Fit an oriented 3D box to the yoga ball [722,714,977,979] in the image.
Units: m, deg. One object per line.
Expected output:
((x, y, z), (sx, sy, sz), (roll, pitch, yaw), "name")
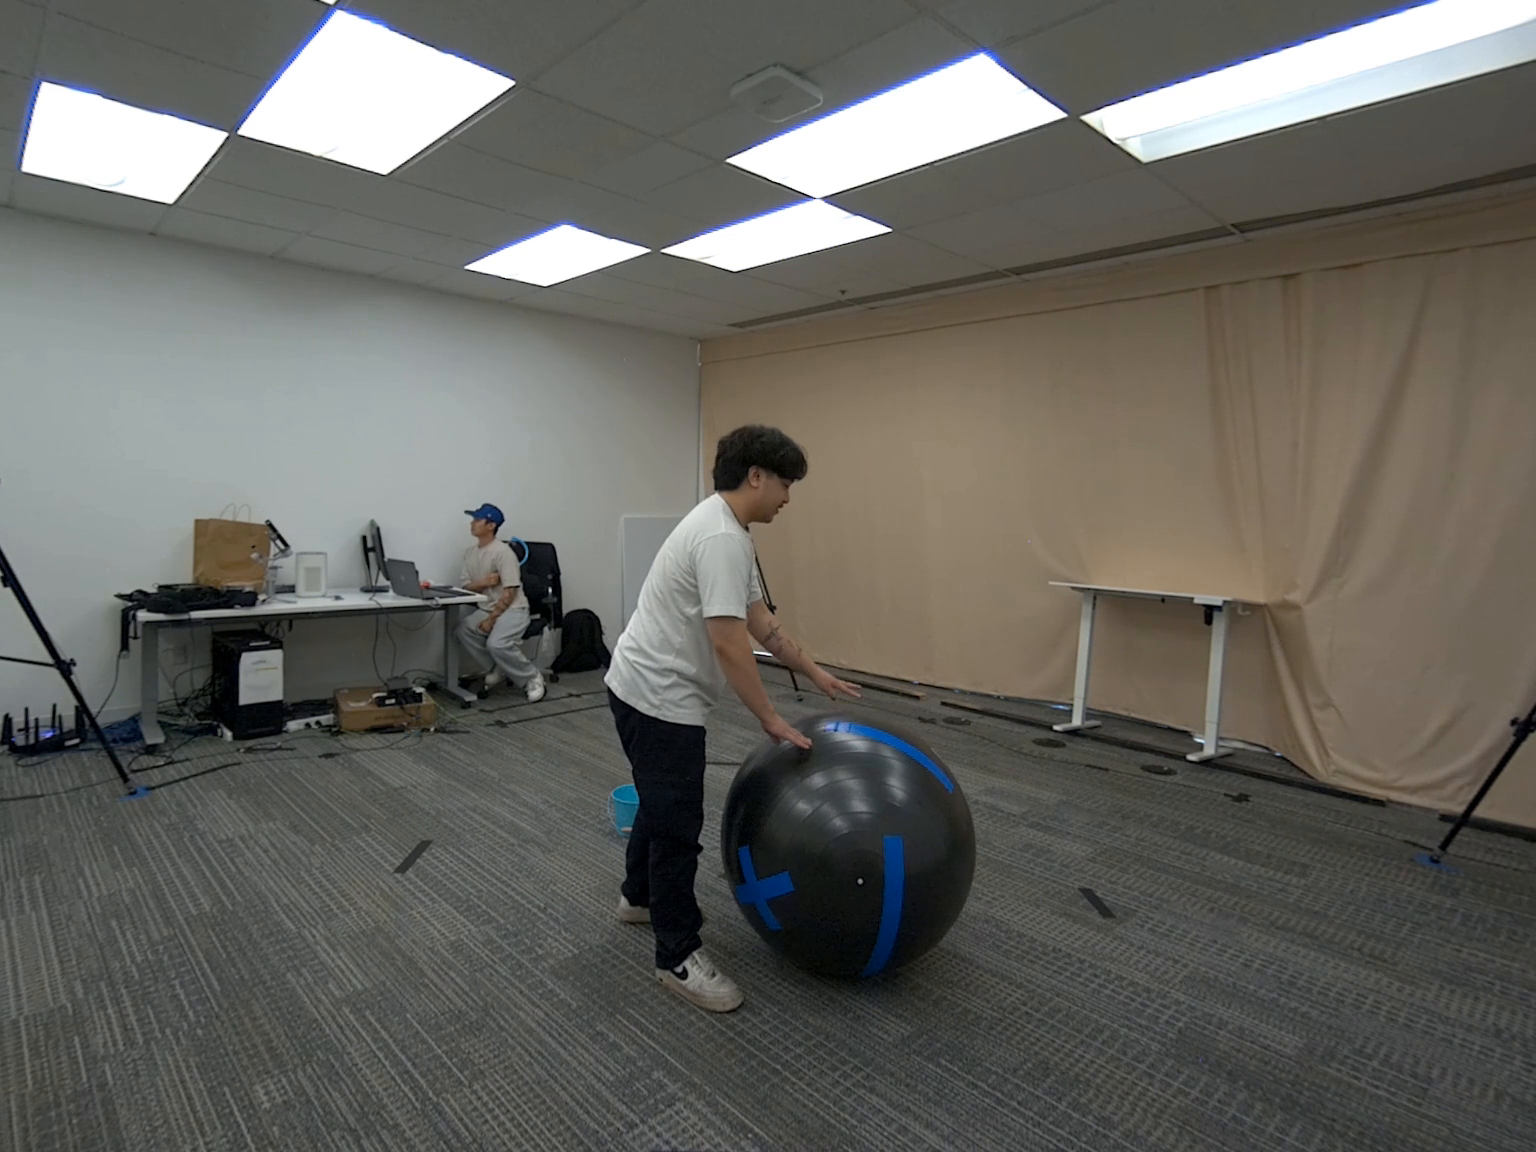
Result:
((0.232, 0.798, 2.556), (0.757, 0.756, 0.761), (1, 4, -1), "yoga ball")
